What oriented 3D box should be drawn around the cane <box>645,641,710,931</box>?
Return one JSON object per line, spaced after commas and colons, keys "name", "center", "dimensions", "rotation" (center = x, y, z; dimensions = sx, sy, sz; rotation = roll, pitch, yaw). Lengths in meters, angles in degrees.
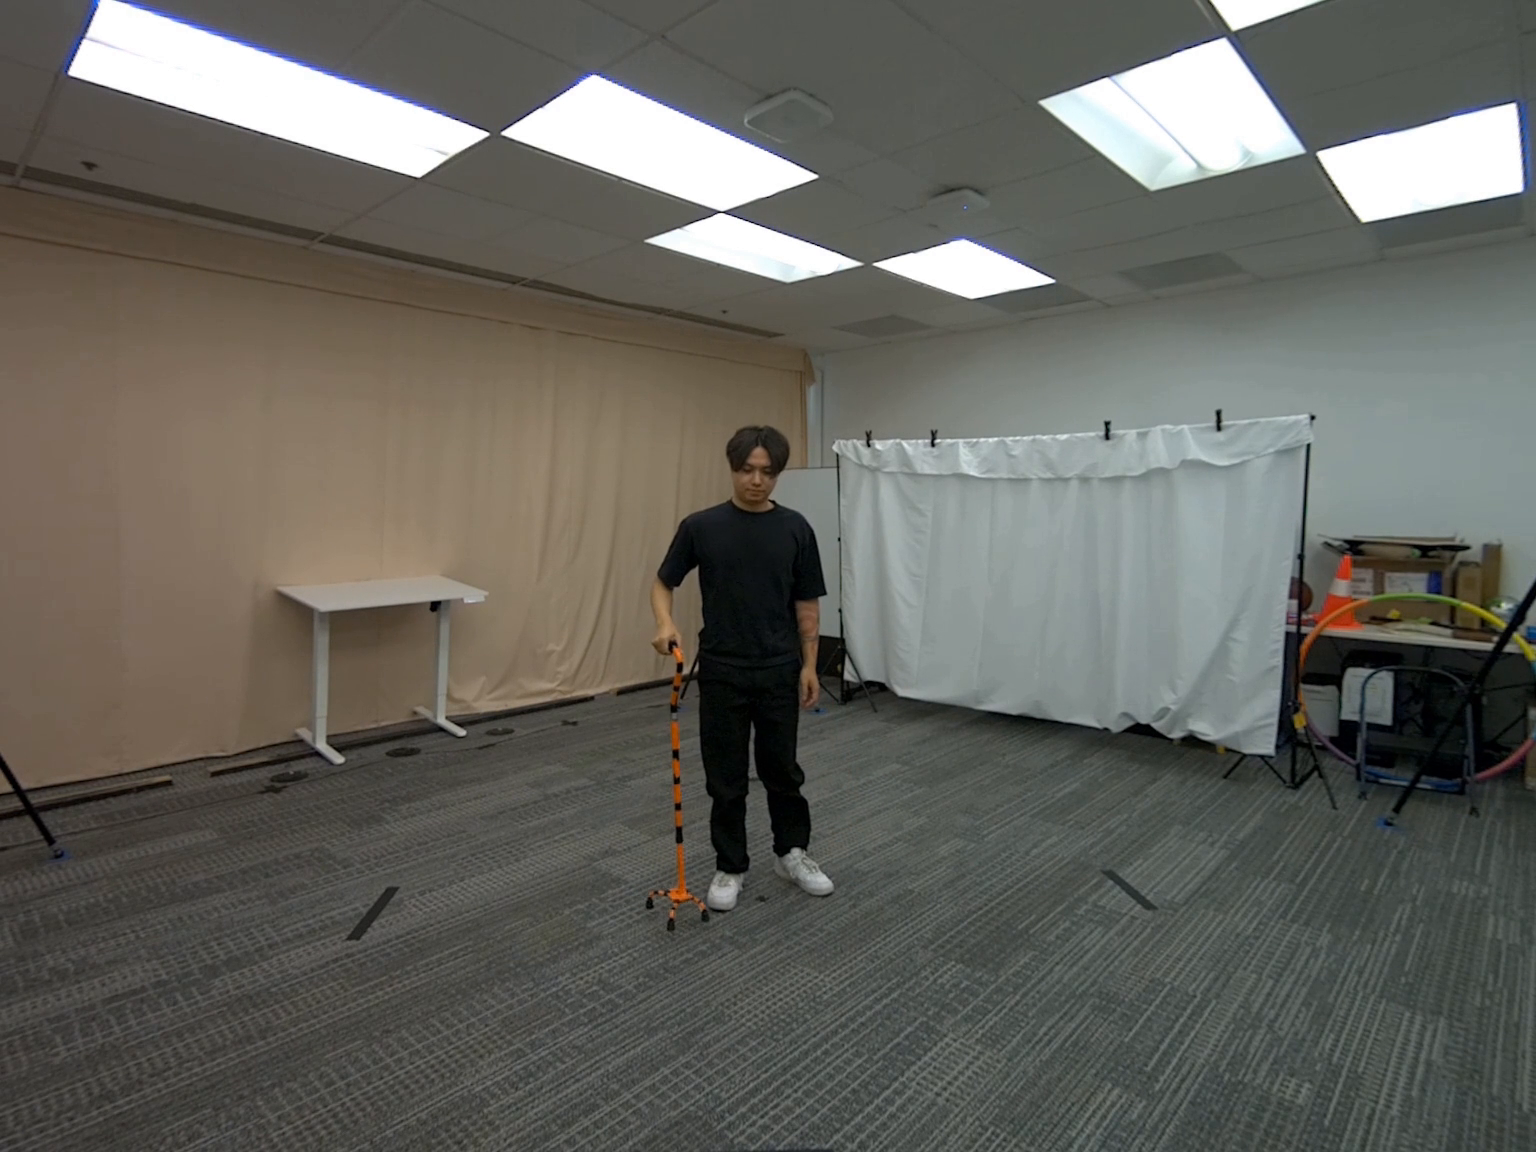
{"name": "cane", "center": [-0.315, 0.683, 2.780], "dimensions": [0.147, 0.906, 0.212], "rotation": [-3, 3, -30]}
